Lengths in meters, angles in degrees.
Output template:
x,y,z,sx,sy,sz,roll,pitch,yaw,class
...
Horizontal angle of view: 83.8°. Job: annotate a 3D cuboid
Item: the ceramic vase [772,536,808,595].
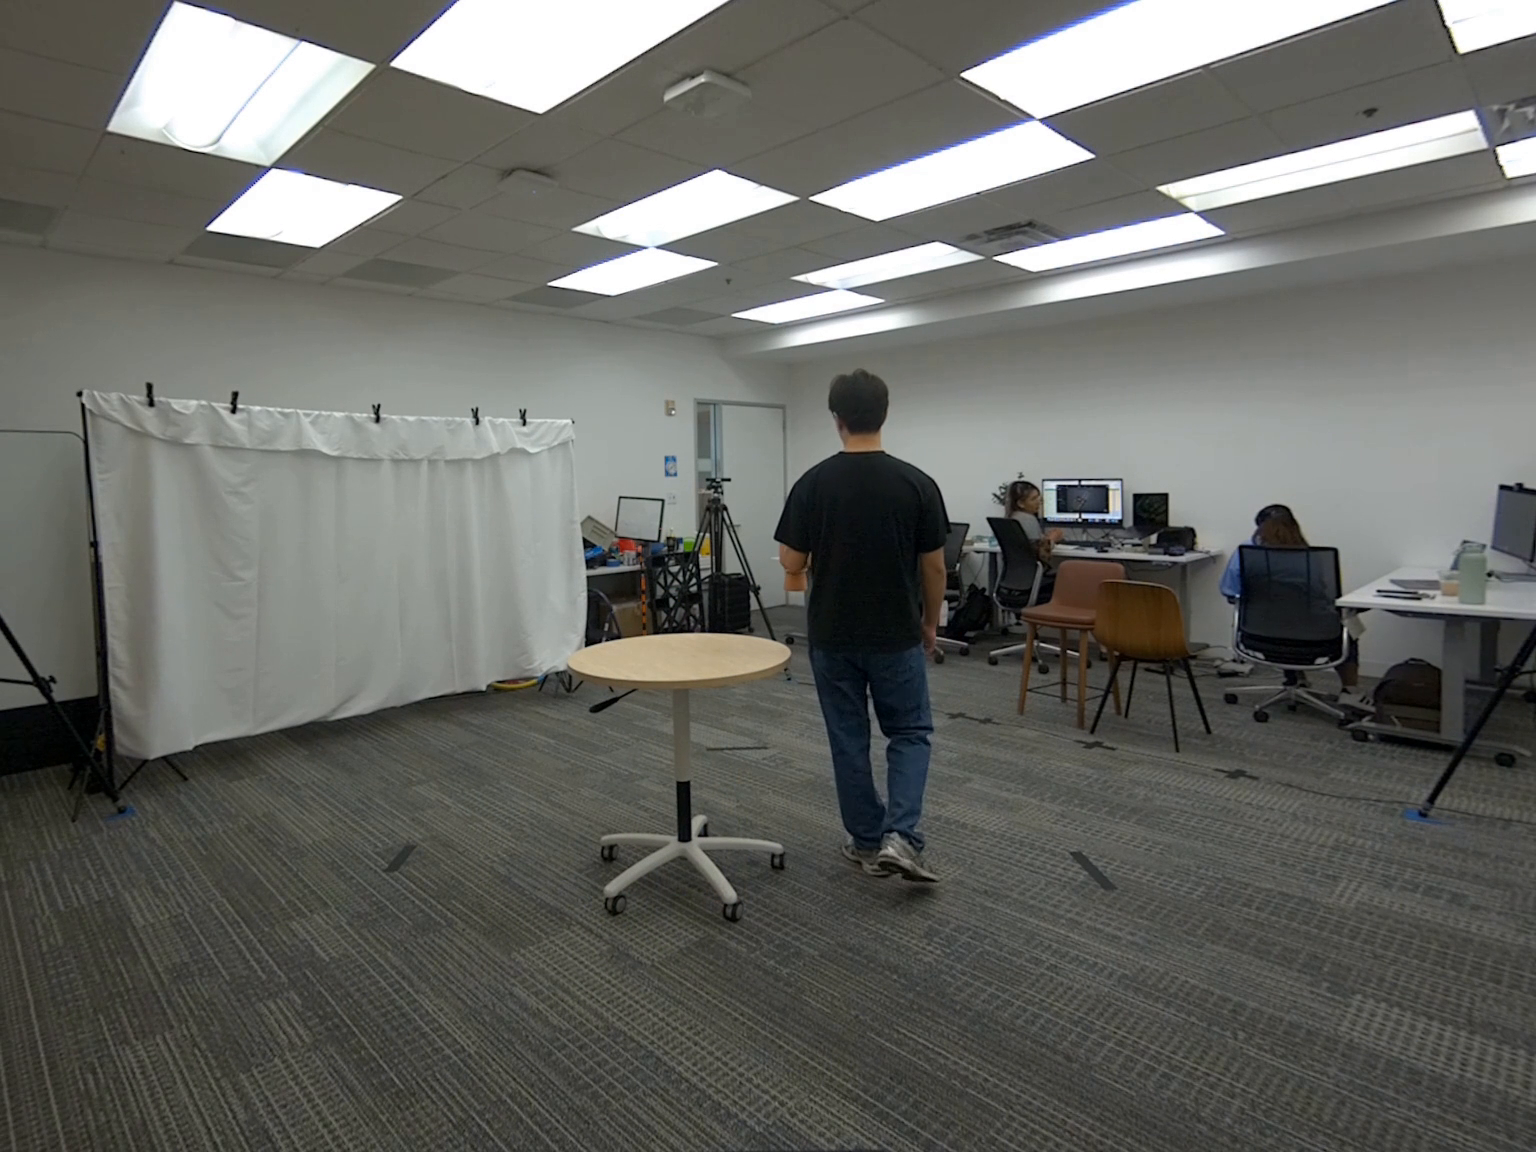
x,y,z,sx,sy,sz,roll,pitch,yaw,class
0.119,-0.054,3.444,0.139,0.218,0.155,5,8,42,ceramic vase
